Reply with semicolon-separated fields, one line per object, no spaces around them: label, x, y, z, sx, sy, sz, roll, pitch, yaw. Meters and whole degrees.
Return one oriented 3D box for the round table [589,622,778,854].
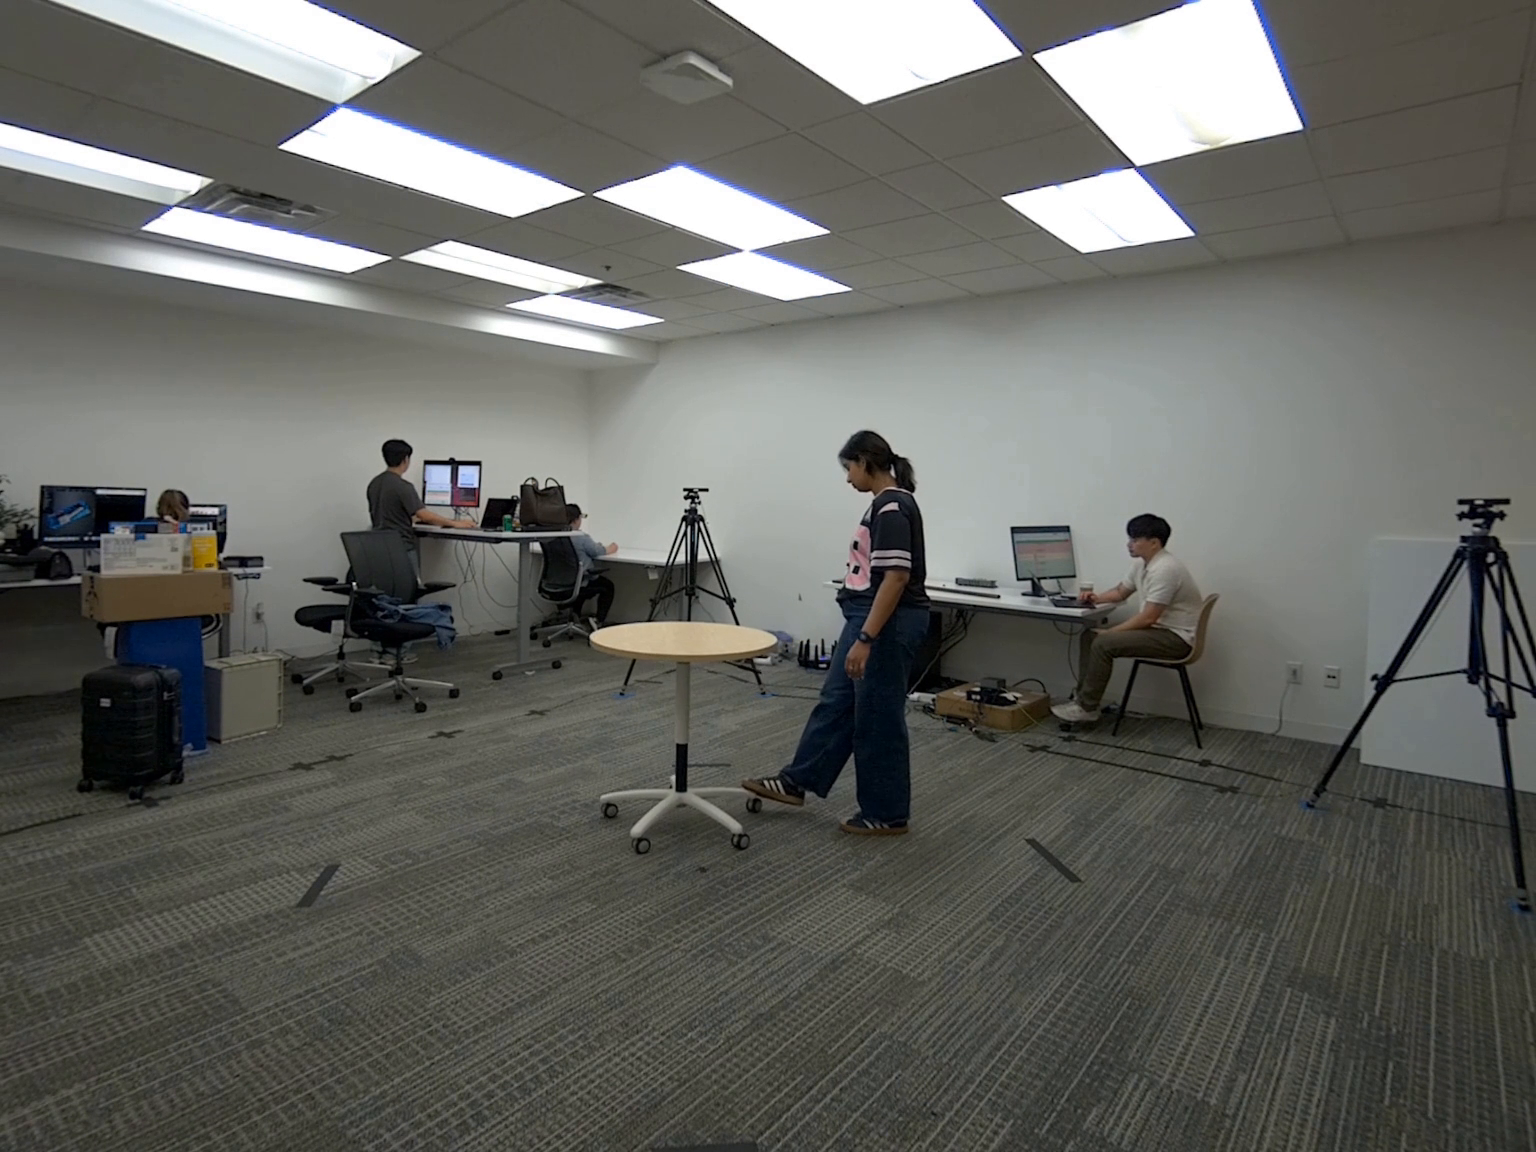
round table;-0.367;0.641;3.523;0.763;0.791;0.768;1;4;-2
